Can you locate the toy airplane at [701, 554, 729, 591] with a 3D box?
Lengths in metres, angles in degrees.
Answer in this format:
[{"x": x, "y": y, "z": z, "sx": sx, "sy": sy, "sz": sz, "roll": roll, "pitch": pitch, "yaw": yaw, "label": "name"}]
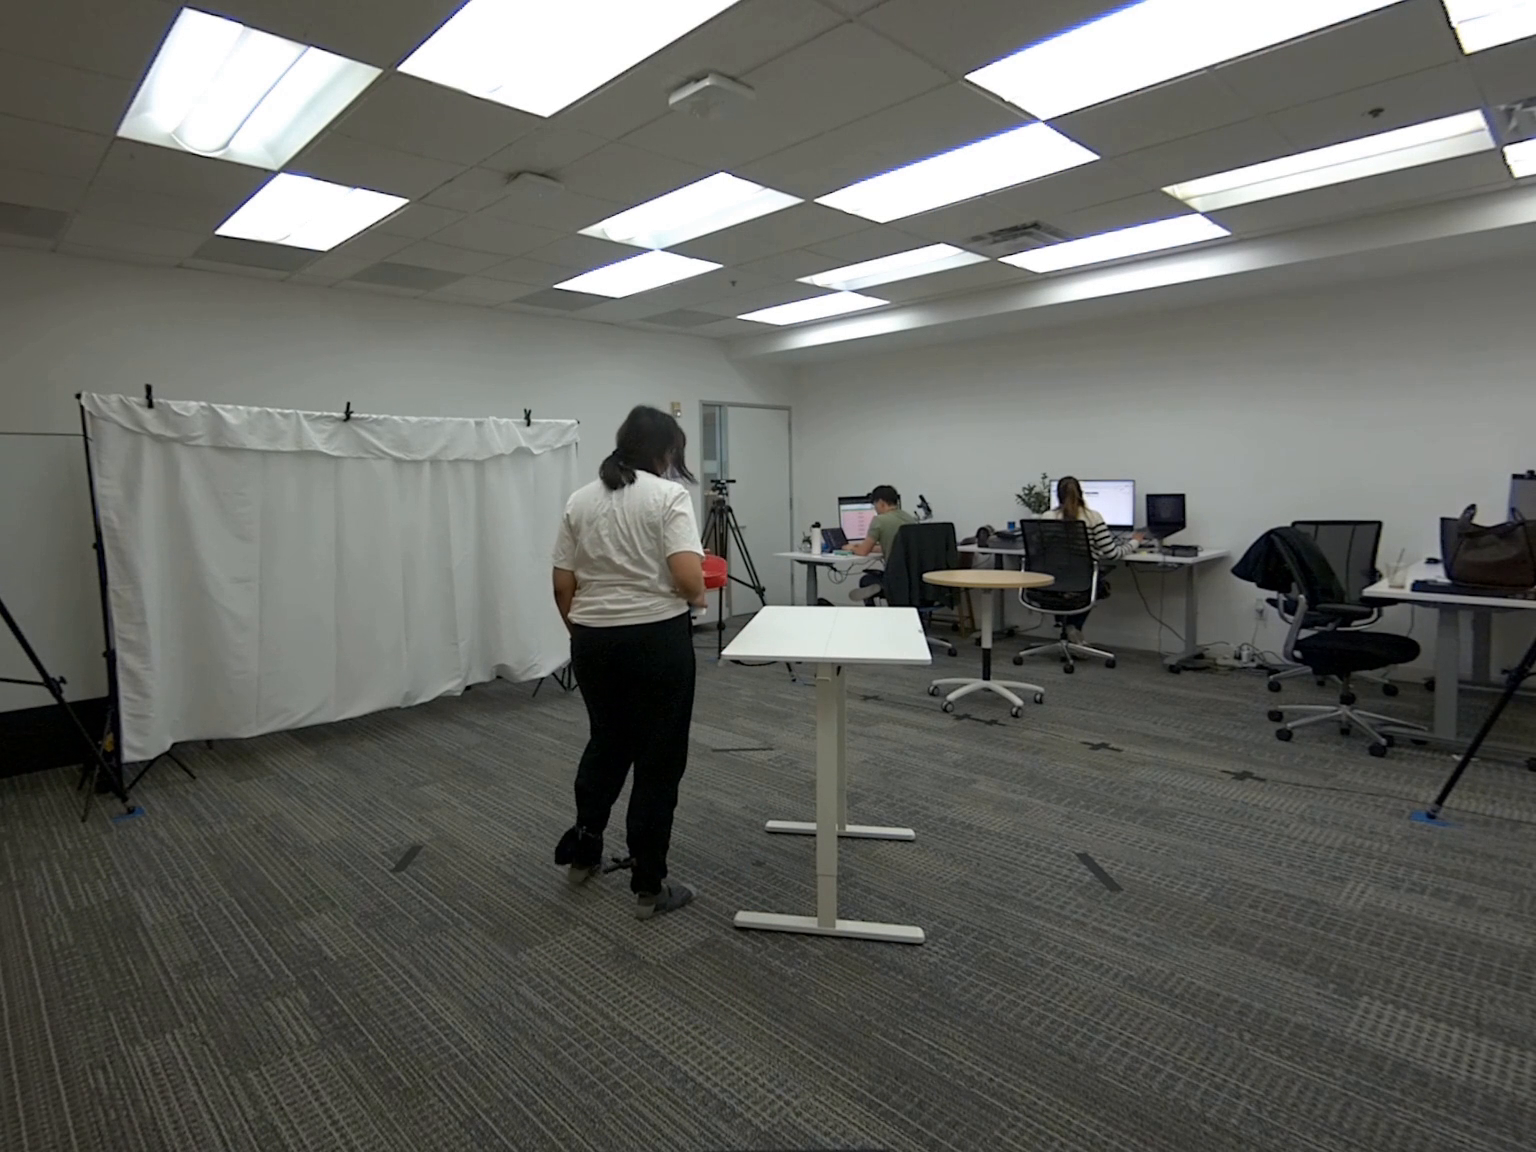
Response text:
[{"x": -0.256, "y": 0.023, "z": 3.030, "sx": 0.248, "sy": 0.152, "sz": 0.269, "roll": -19, "pitch": 48, "yaw": -18, "label": "toy airplane"}]
